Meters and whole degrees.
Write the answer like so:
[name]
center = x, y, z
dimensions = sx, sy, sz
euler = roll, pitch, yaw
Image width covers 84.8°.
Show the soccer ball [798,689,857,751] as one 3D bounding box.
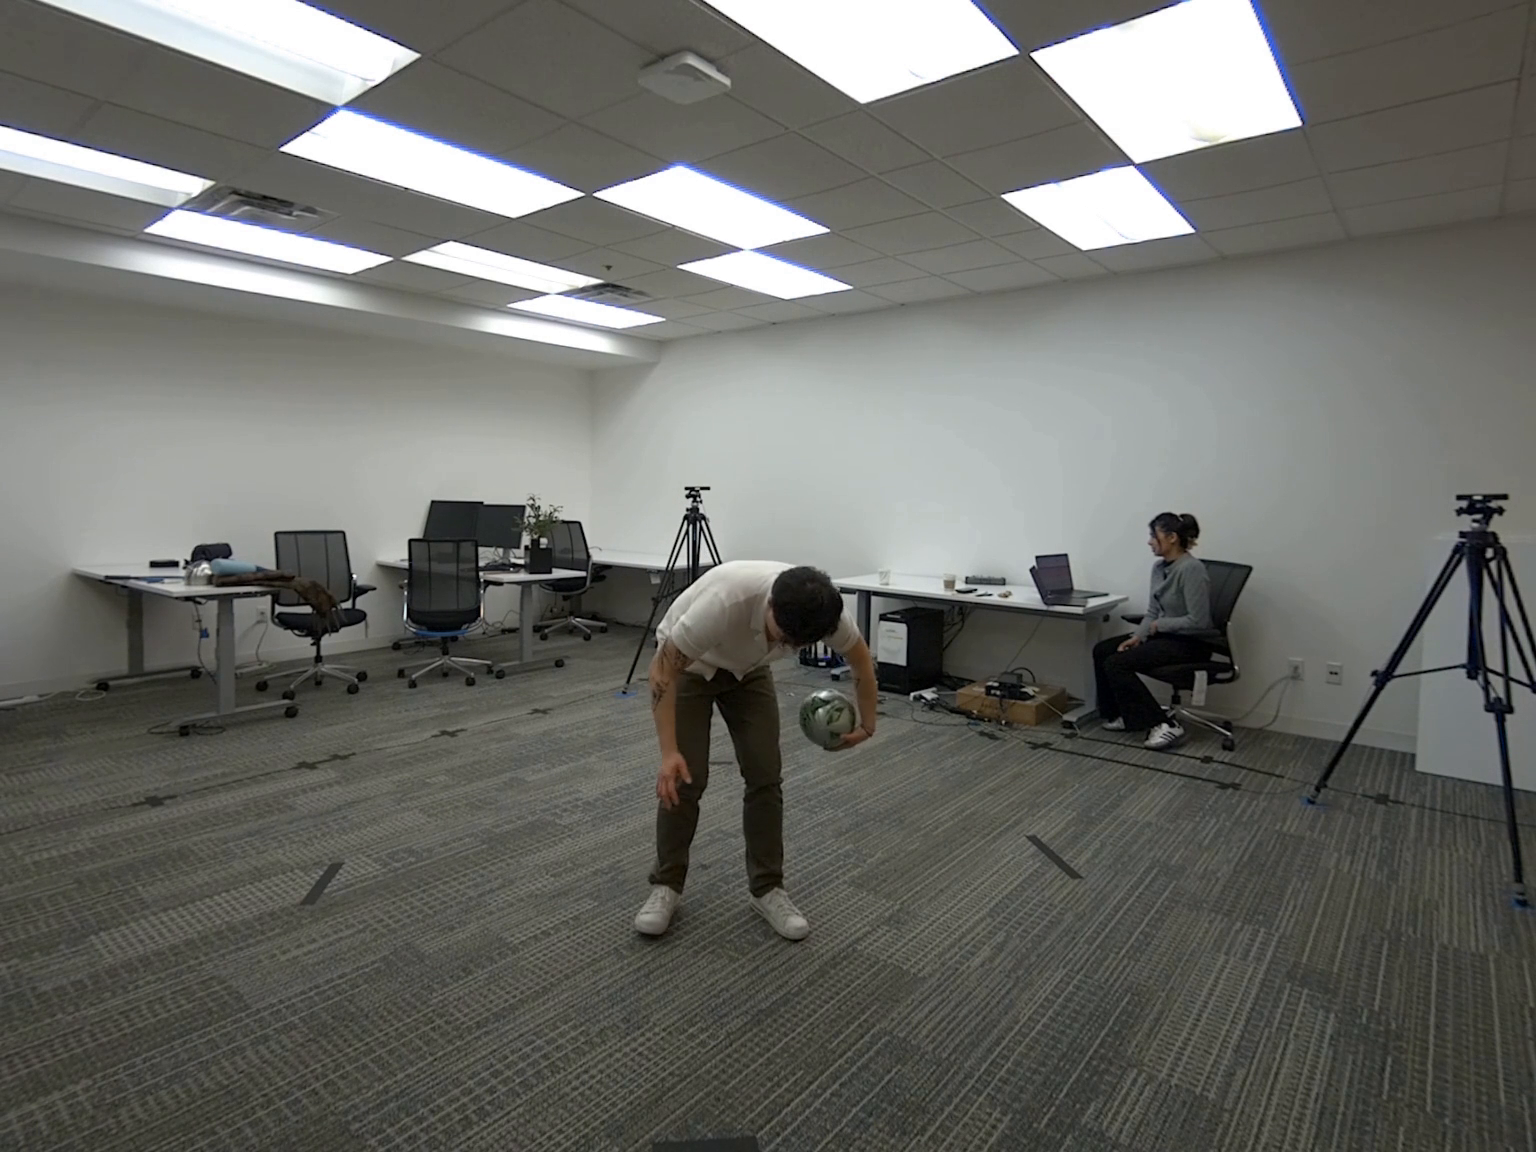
[soccer ball]
center = 0.180, 0.467, 2.792
dimensions = 0.187, 0.187, 0.188
euler = 1, 4, -2
